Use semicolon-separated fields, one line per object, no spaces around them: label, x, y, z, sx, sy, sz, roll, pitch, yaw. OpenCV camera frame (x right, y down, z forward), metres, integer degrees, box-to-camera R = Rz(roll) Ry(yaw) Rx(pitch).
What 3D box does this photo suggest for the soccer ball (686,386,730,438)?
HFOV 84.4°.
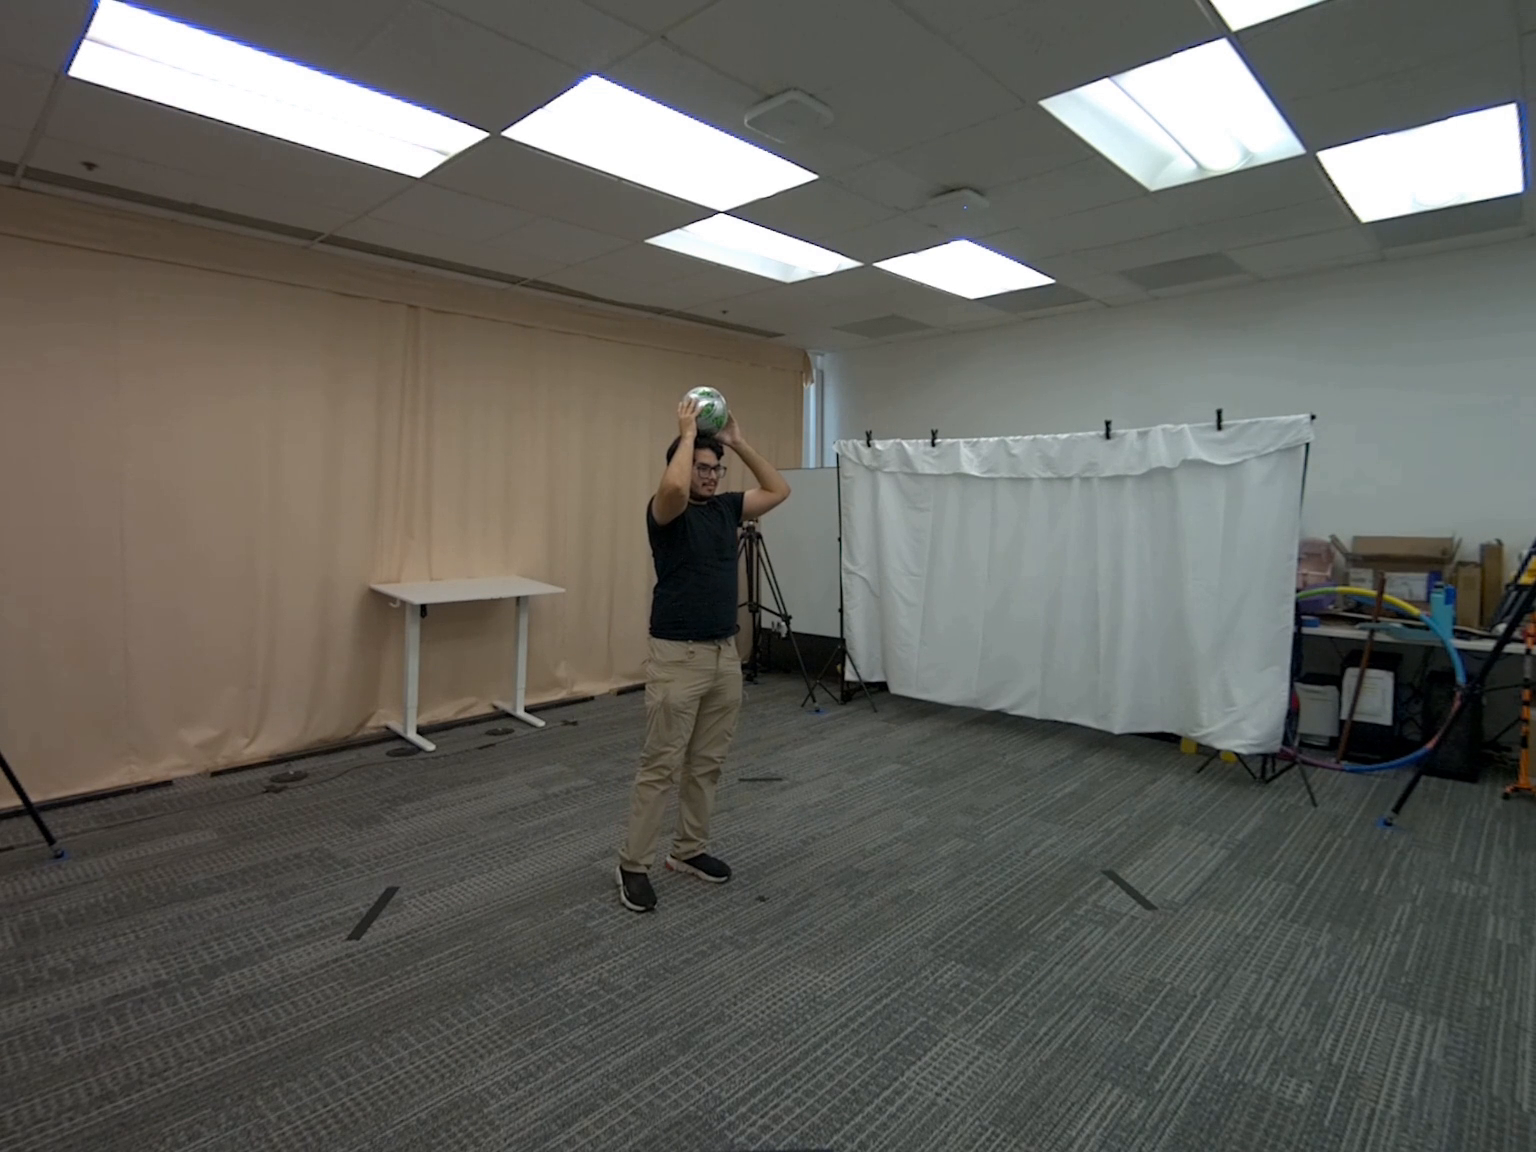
soccer ball;-0.236;-0.605;3.116;0.187;0.187;0.188;0;4;-2
